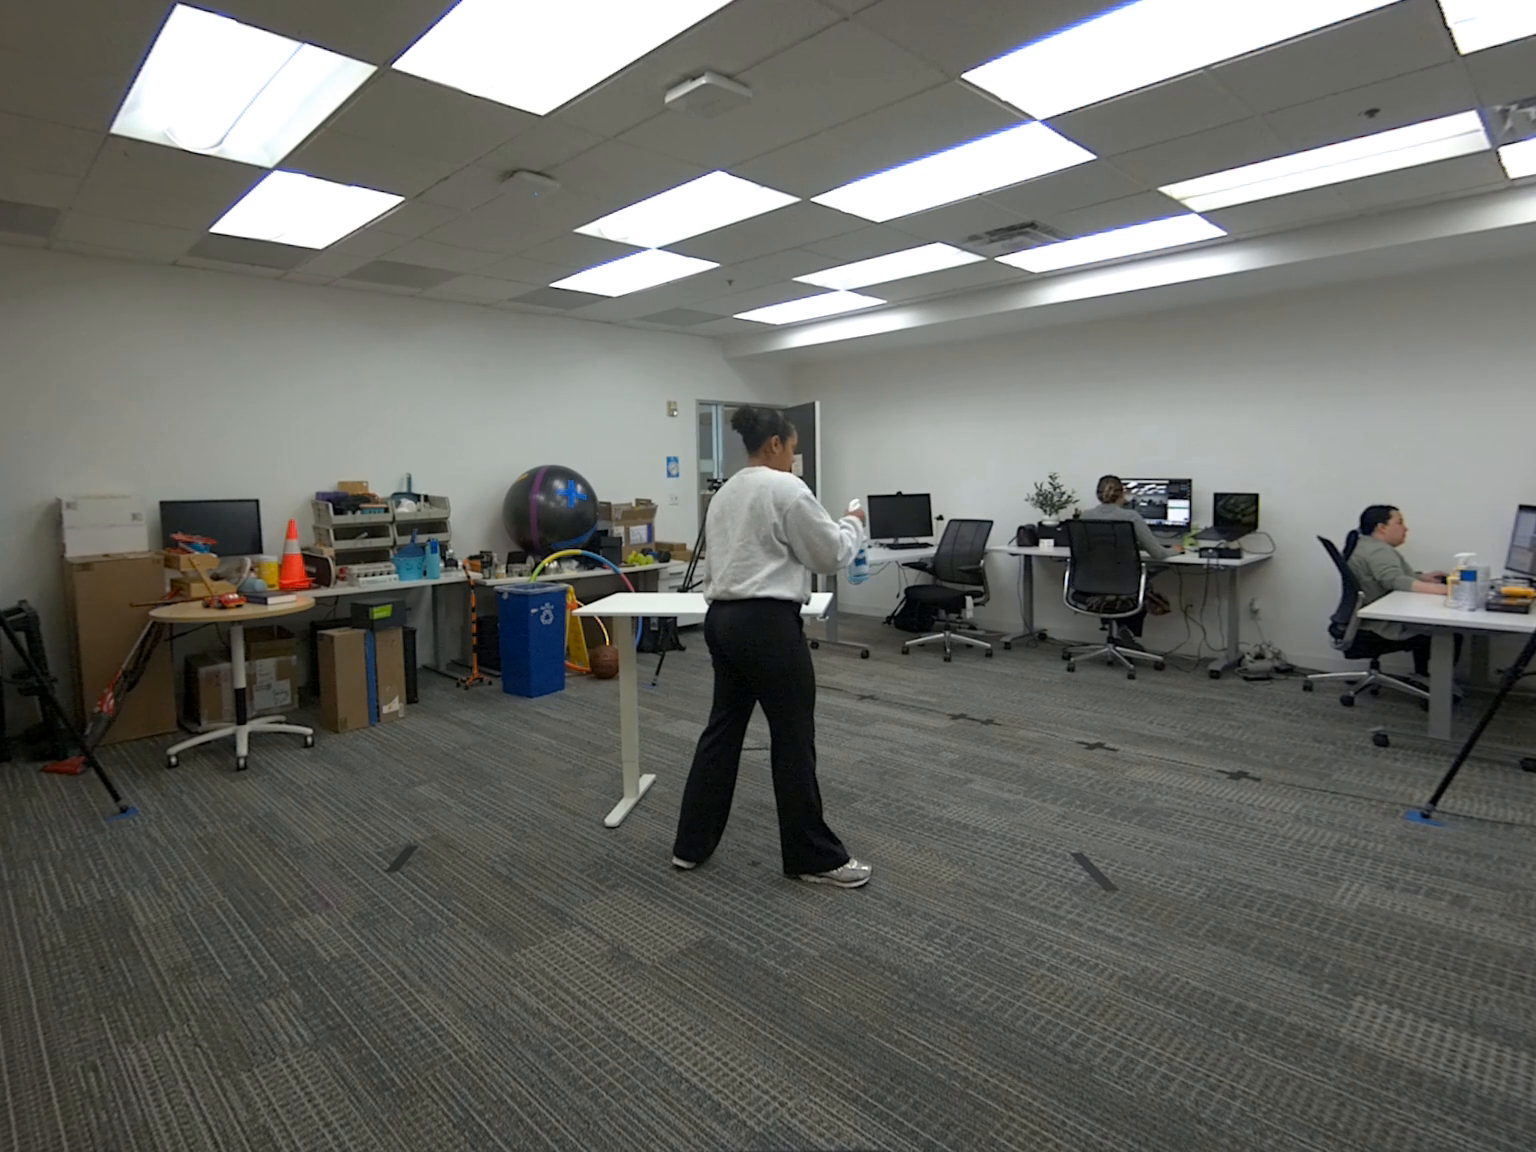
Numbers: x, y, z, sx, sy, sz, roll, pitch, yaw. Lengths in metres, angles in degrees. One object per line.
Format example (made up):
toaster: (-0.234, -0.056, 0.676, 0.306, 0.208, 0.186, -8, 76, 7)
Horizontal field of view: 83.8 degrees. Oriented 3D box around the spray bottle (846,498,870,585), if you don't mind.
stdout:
spray bottle: (0.321, -0.118, 3.169, 0.088, 0.293, 0.090, -14, 16, -36)
